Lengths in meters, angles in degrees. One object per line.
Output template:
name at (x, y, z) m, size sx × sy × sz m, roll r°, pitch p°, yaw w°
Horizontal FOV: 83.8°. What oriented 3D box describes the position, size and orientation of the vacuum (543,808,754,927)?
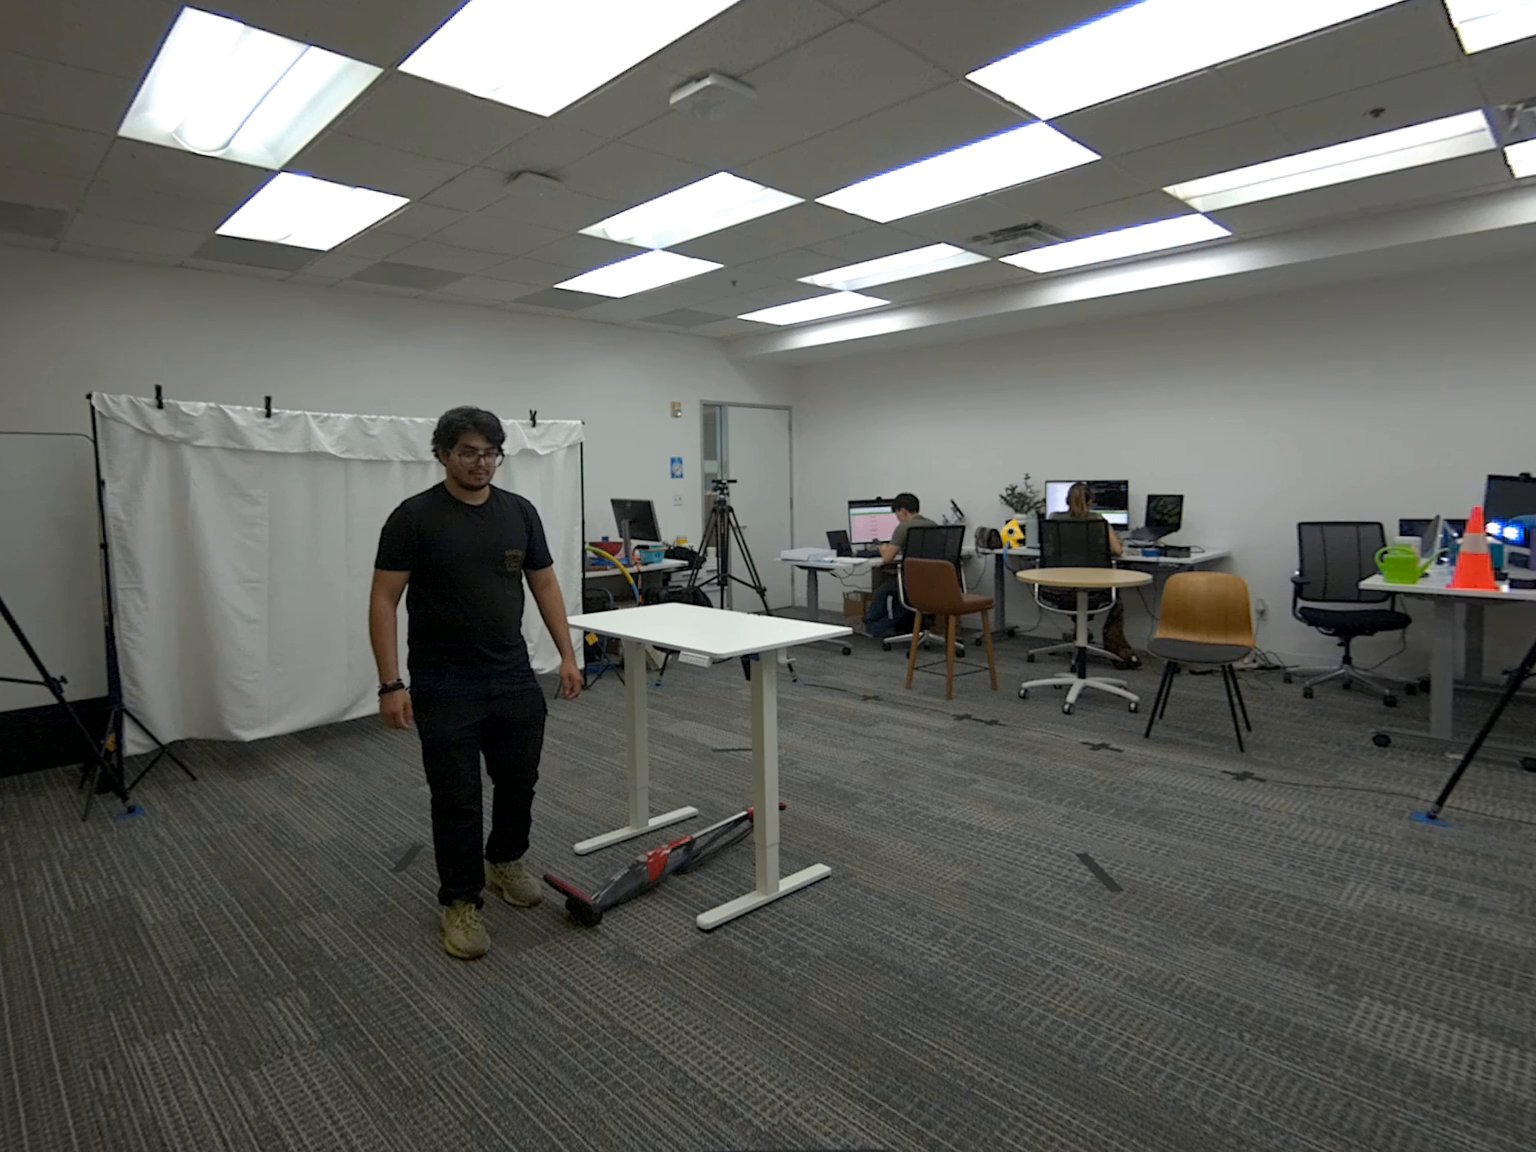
vacuum at (-0.275, 0.996, 3.085) m, size 0.260 × 0.143 × 1.022 m, roll 6°, pitch 9°, yaw 41°
